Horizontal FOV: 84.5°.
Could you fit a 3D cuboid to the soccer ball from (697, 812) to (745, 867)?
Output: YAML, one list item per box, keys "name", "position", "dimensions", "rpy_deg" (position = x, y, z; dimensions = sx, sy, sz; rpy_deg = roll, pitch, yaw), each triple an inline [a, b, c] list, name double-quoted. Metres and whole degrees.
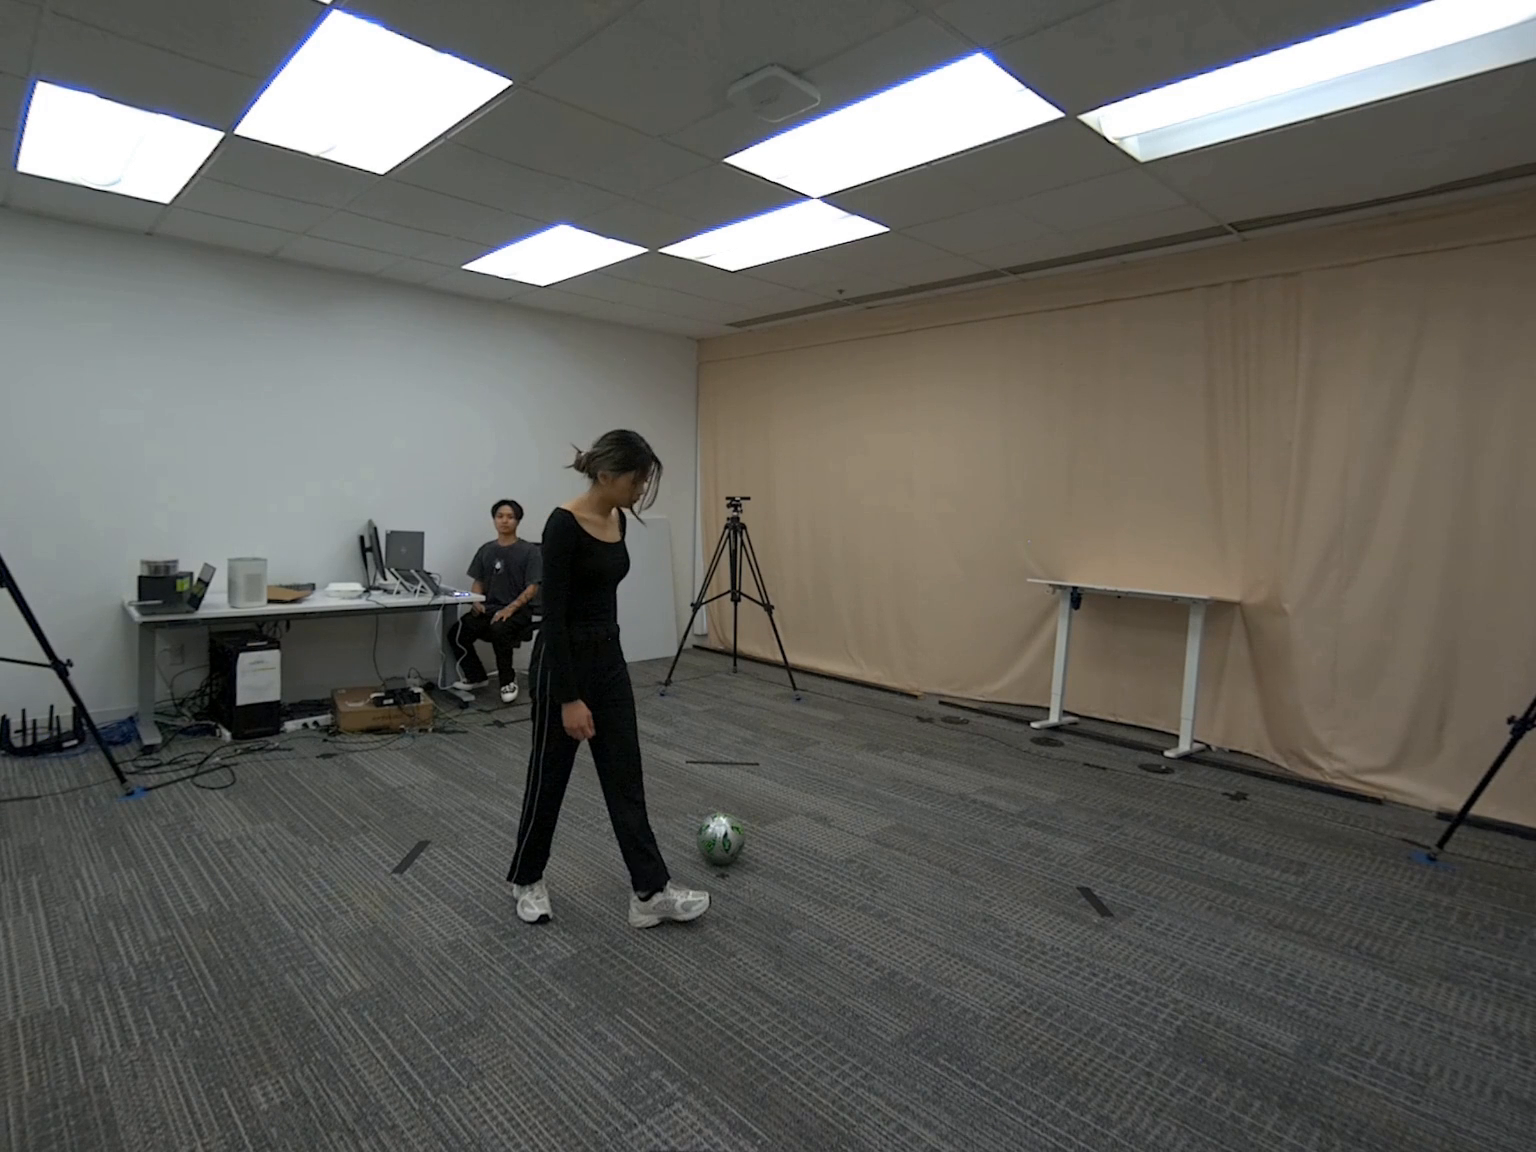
- name: "soccer ball"
  position: [-0.189, 1.002, 3.215]
  dimensions: [0.187, 0.187, 0.188]
  rpy_deg: [1, 4, -1]
